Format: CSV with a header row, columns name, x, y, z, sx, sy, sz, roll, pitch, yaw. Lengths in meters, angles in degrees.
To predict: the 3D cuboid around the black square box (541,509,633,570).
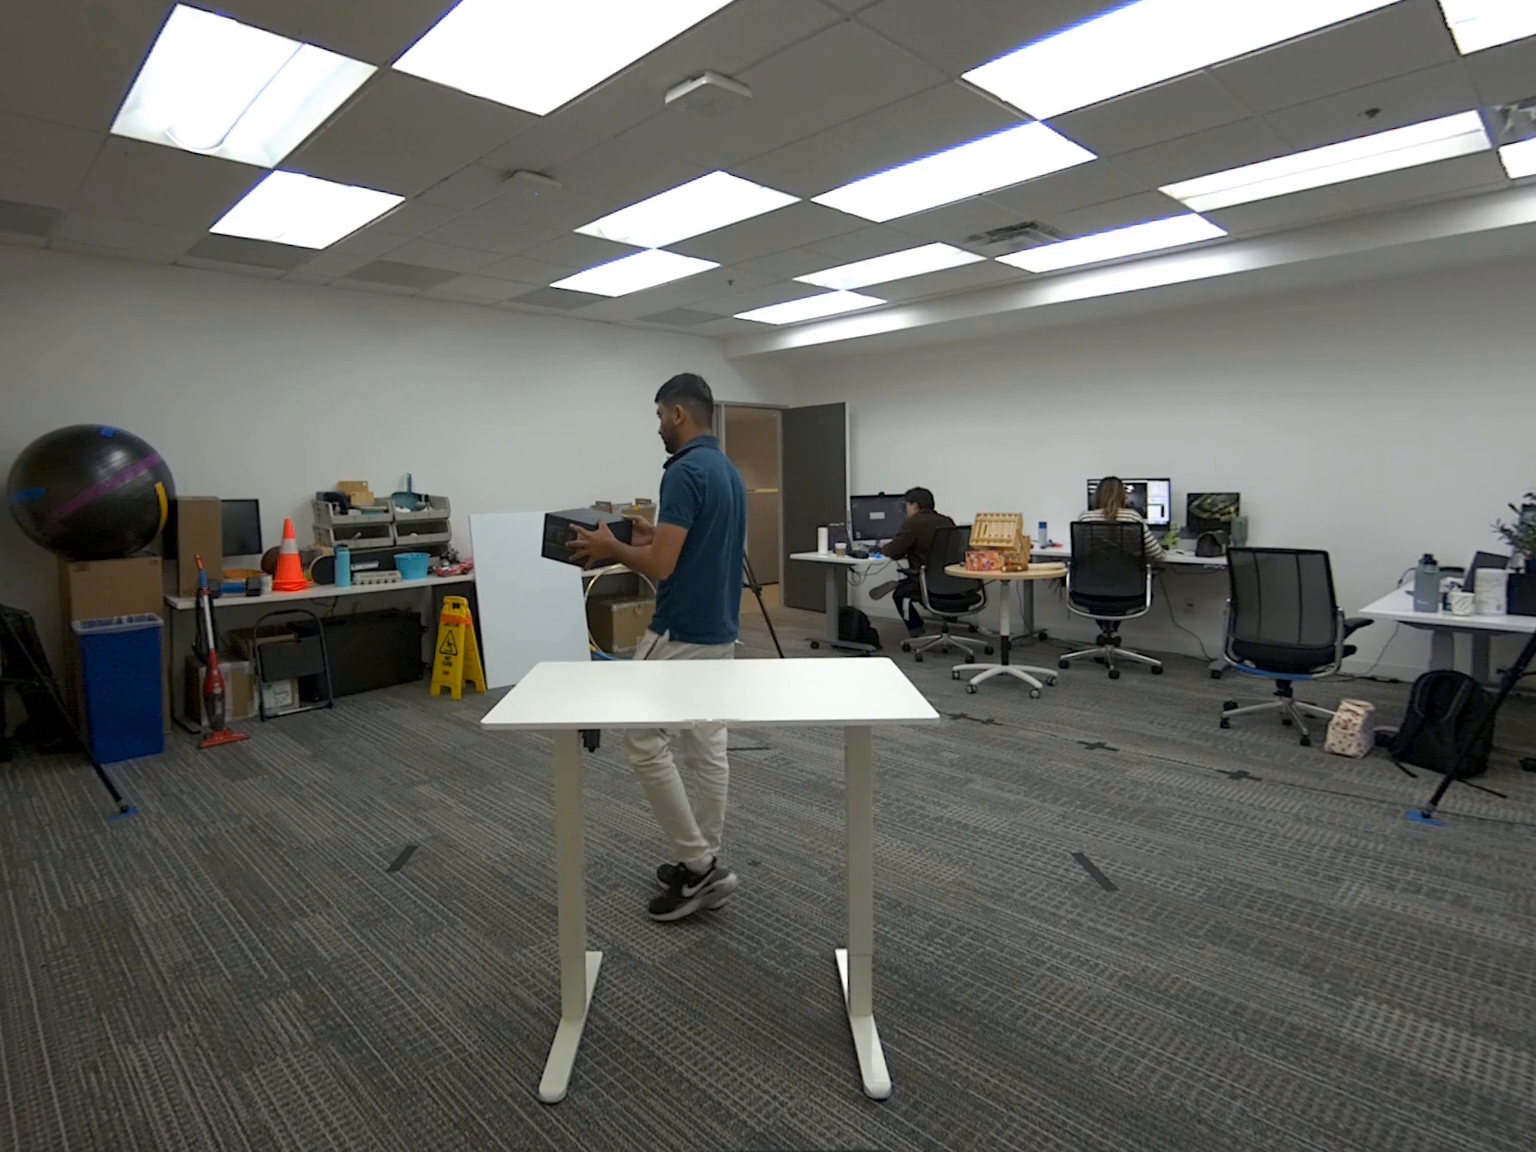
name,x,y,z,sx,sy,sz,roll,pitch,yaw
black square box,-0.620,-0.132,2.964,0.223,0.154,0.223,14,15,27
